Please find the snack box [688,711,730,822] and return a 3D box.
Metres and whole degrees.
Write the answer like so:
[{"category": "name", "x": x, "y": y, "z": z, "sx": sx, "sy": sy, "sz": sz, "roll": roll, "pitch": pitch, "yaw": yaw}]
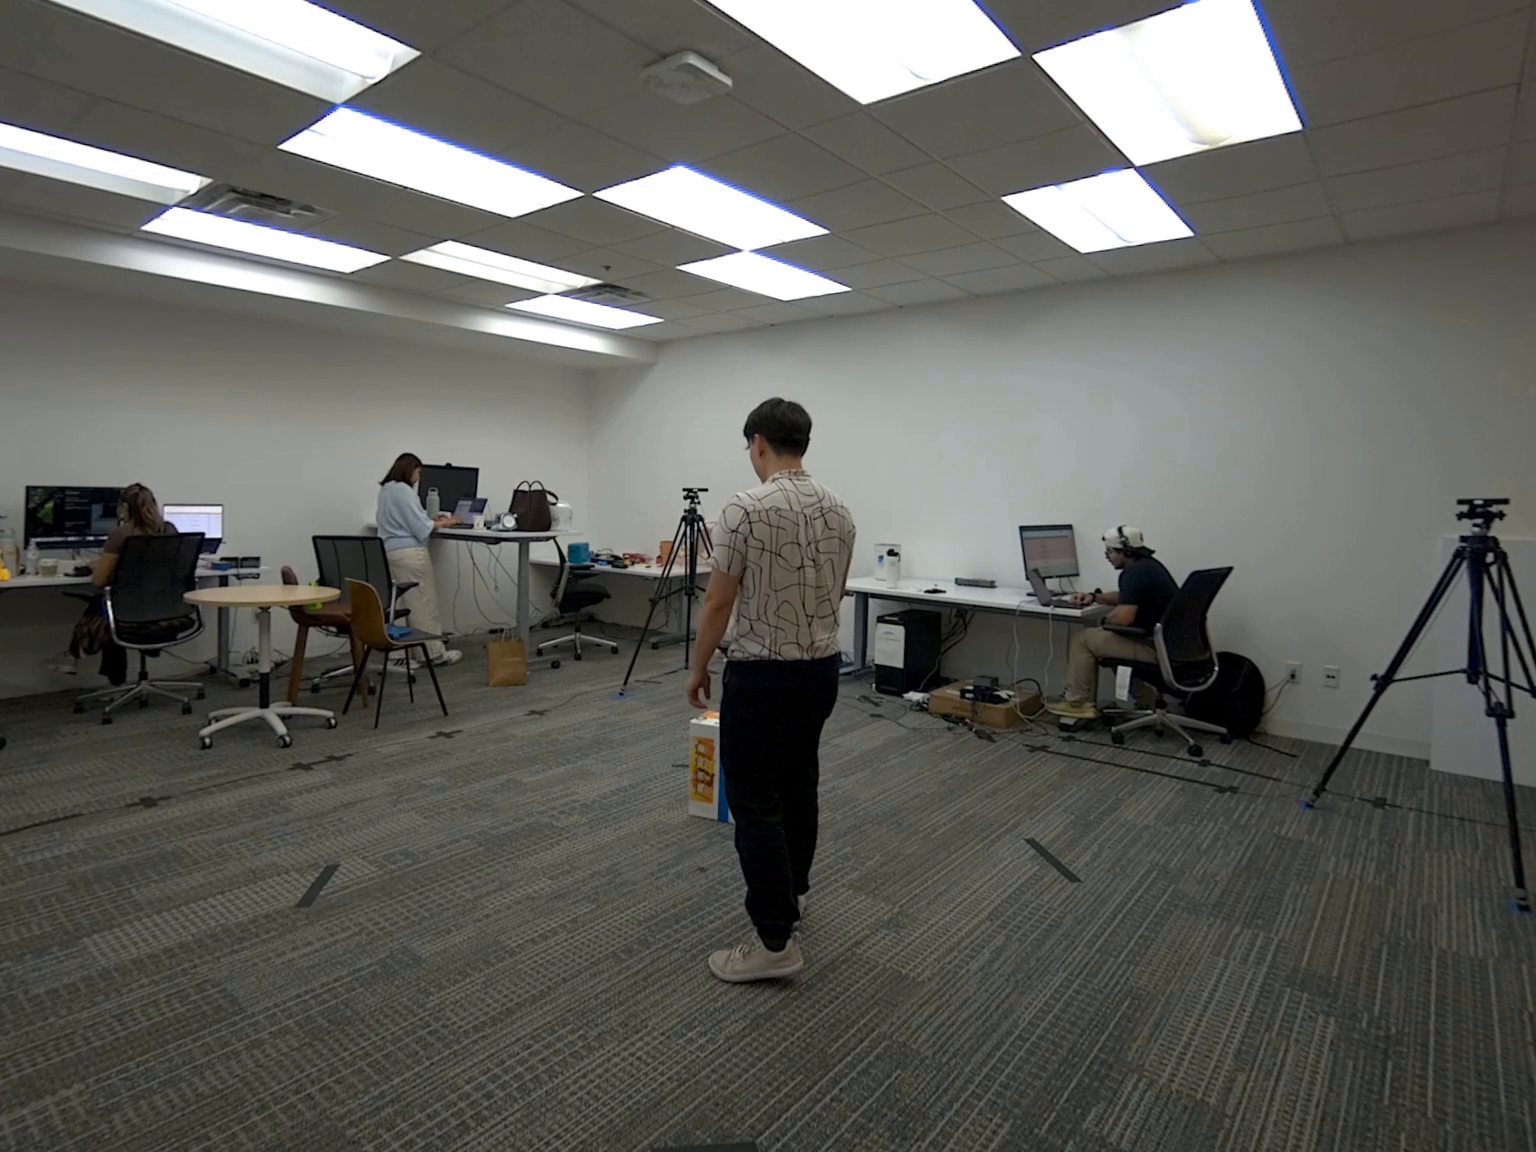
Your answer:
[{"category": "snack box", "x": -0.151, "y": 0.813, "z": 3.633, "sx": 0.349, "sy": 0.404, "sz": 0.201, "roll": 3, "pitch": 4, "yaw": 24}]
